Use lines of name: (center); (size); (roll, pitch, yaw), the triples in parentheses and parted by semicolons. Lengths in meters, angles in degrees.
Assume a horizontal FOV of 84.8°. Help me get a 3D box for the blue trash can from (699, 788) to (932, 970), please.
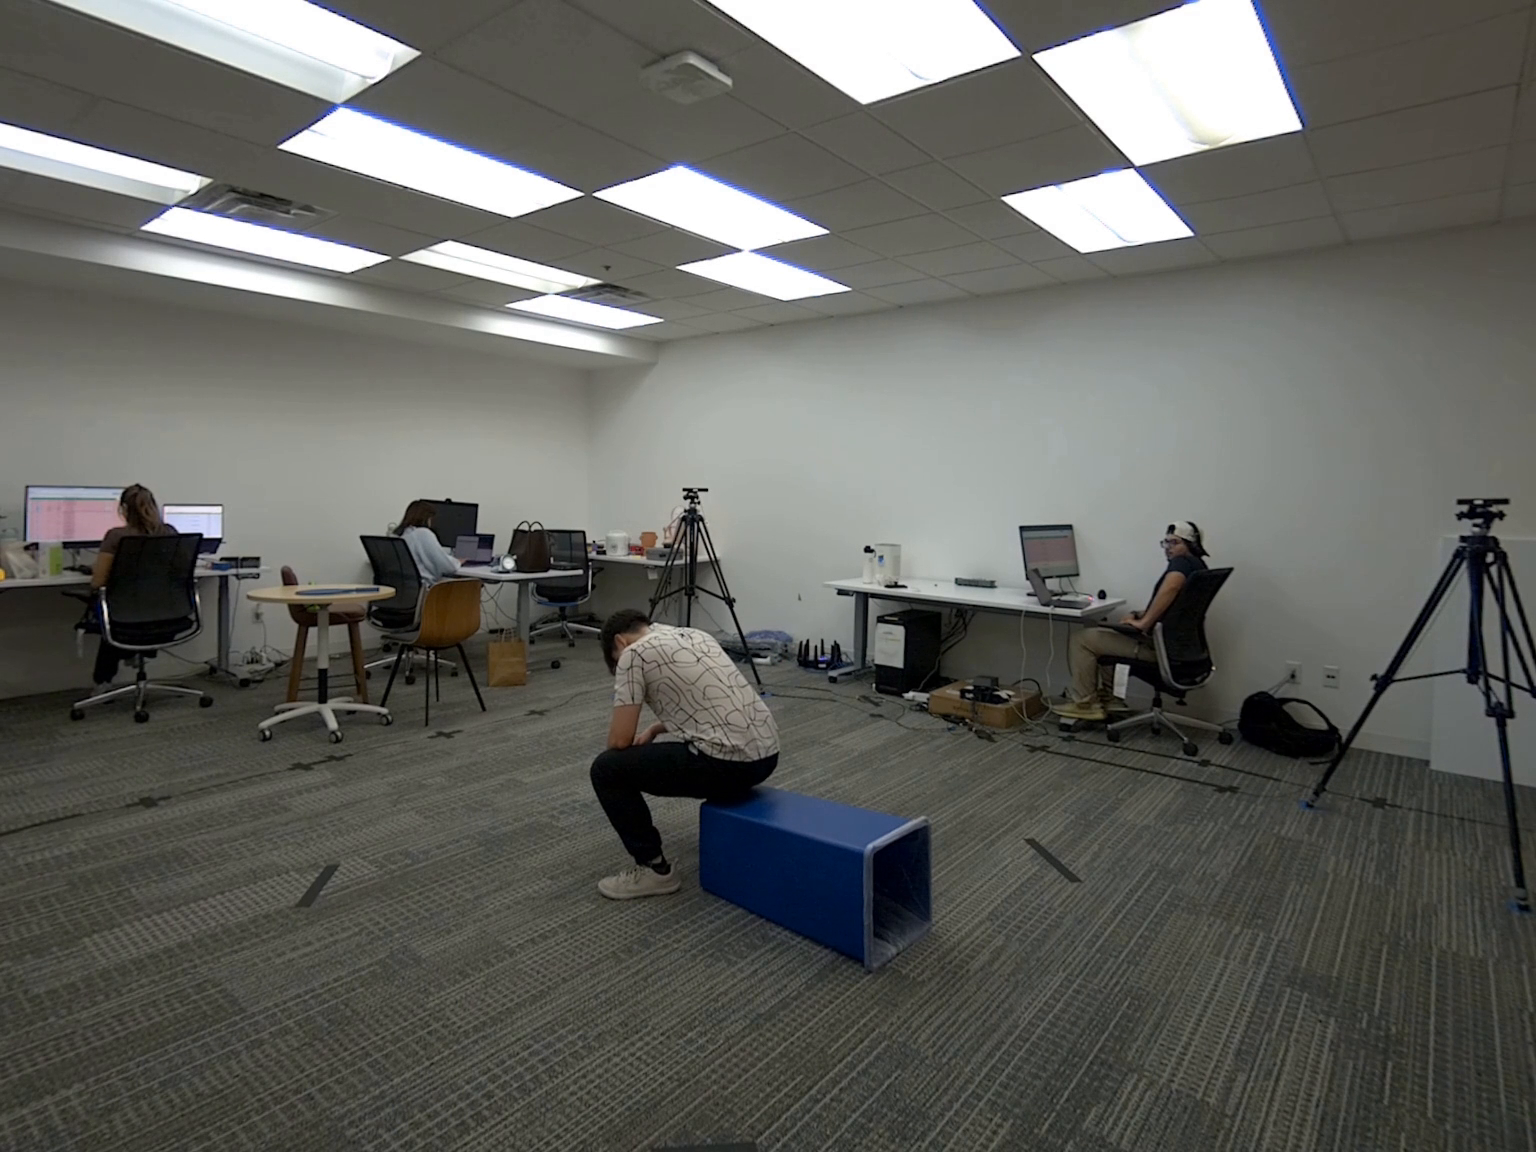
blue trash can: (0.123, 0.932, 2.821); (0.737, 0.377, 0.363); (3, 5, 42)
